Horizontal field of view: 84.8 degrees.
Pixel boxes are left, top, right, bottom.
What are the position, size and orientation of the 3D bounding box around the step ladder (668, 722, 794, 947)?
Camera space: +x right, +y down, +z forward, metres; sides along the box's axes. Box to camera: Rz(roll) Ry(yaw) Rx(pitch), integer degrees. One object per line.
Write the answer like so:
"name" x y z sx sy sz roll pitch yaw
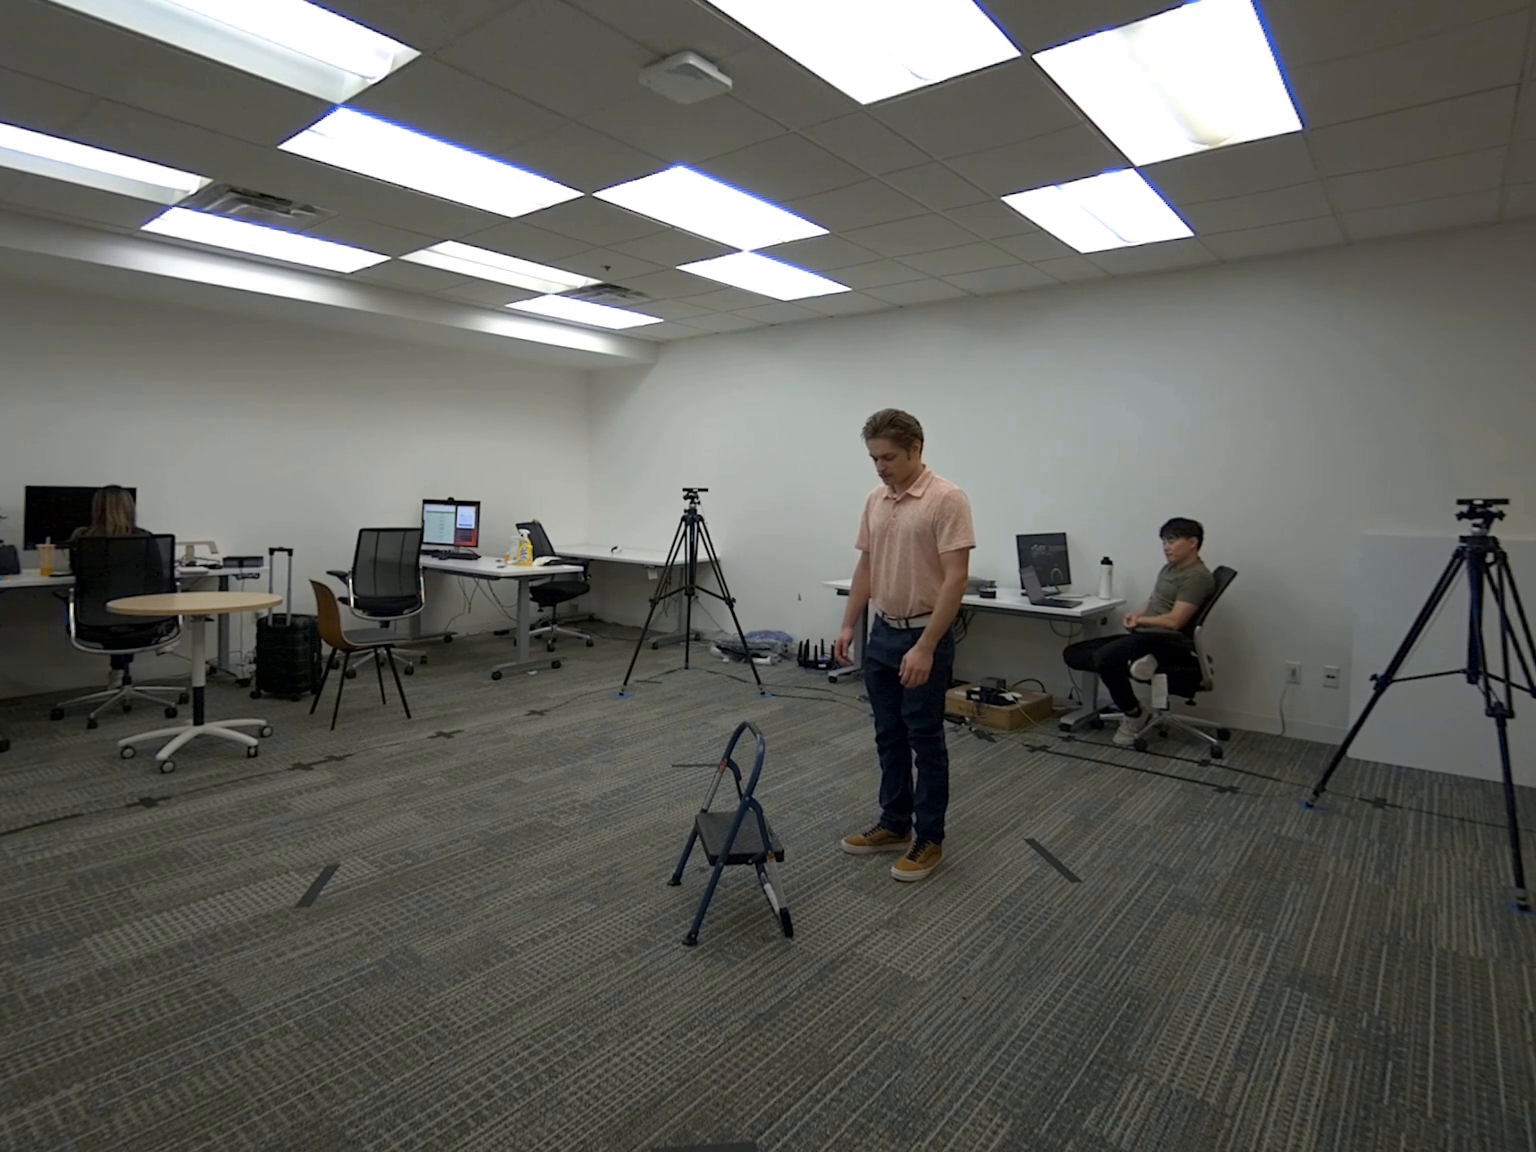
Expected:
"step ladder" -0.129 0.801 2.800 0.345 0.604 0.438 0 4 -13
